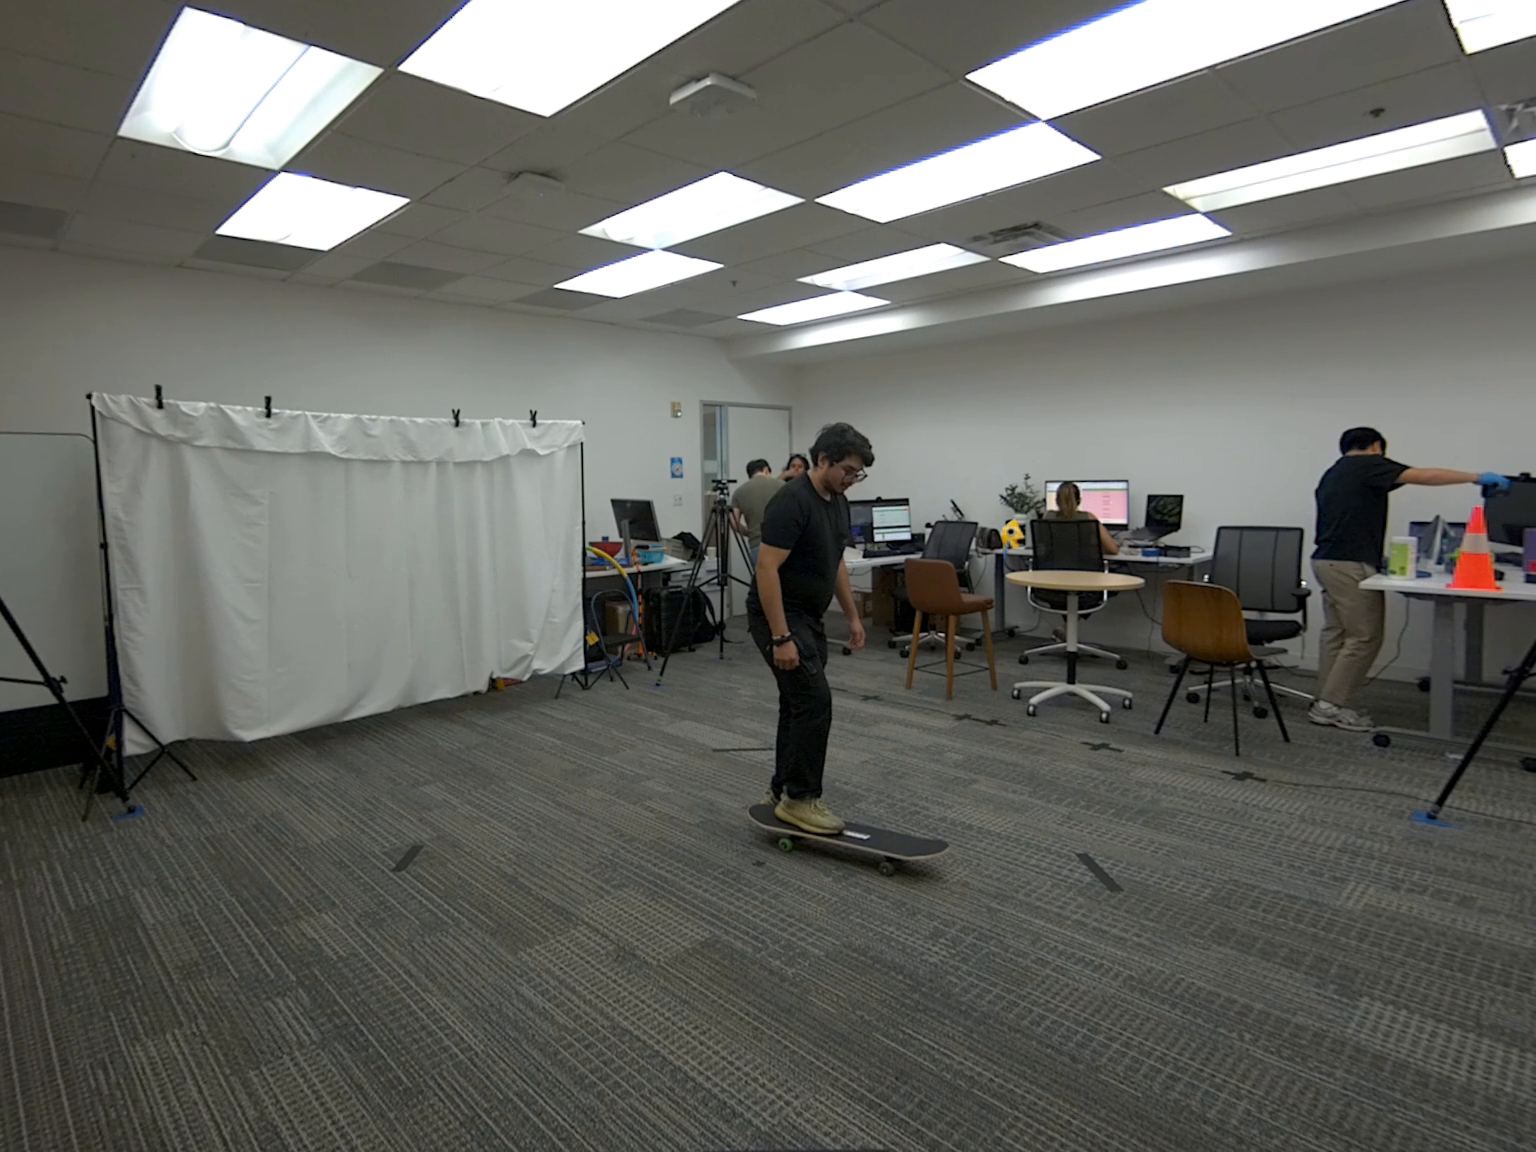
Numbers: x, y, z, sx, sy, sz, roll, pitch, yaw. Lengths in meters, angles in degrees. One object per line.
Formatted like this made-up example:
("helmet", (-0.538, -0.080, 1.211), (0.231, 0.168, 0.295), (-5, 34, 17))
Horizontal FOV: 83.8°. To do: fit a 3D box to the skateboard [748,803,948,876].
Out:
("skateboard", (0.279, 0.983, 3.174), (0.806, 0.110, 0.189), (2, 5, 31))
